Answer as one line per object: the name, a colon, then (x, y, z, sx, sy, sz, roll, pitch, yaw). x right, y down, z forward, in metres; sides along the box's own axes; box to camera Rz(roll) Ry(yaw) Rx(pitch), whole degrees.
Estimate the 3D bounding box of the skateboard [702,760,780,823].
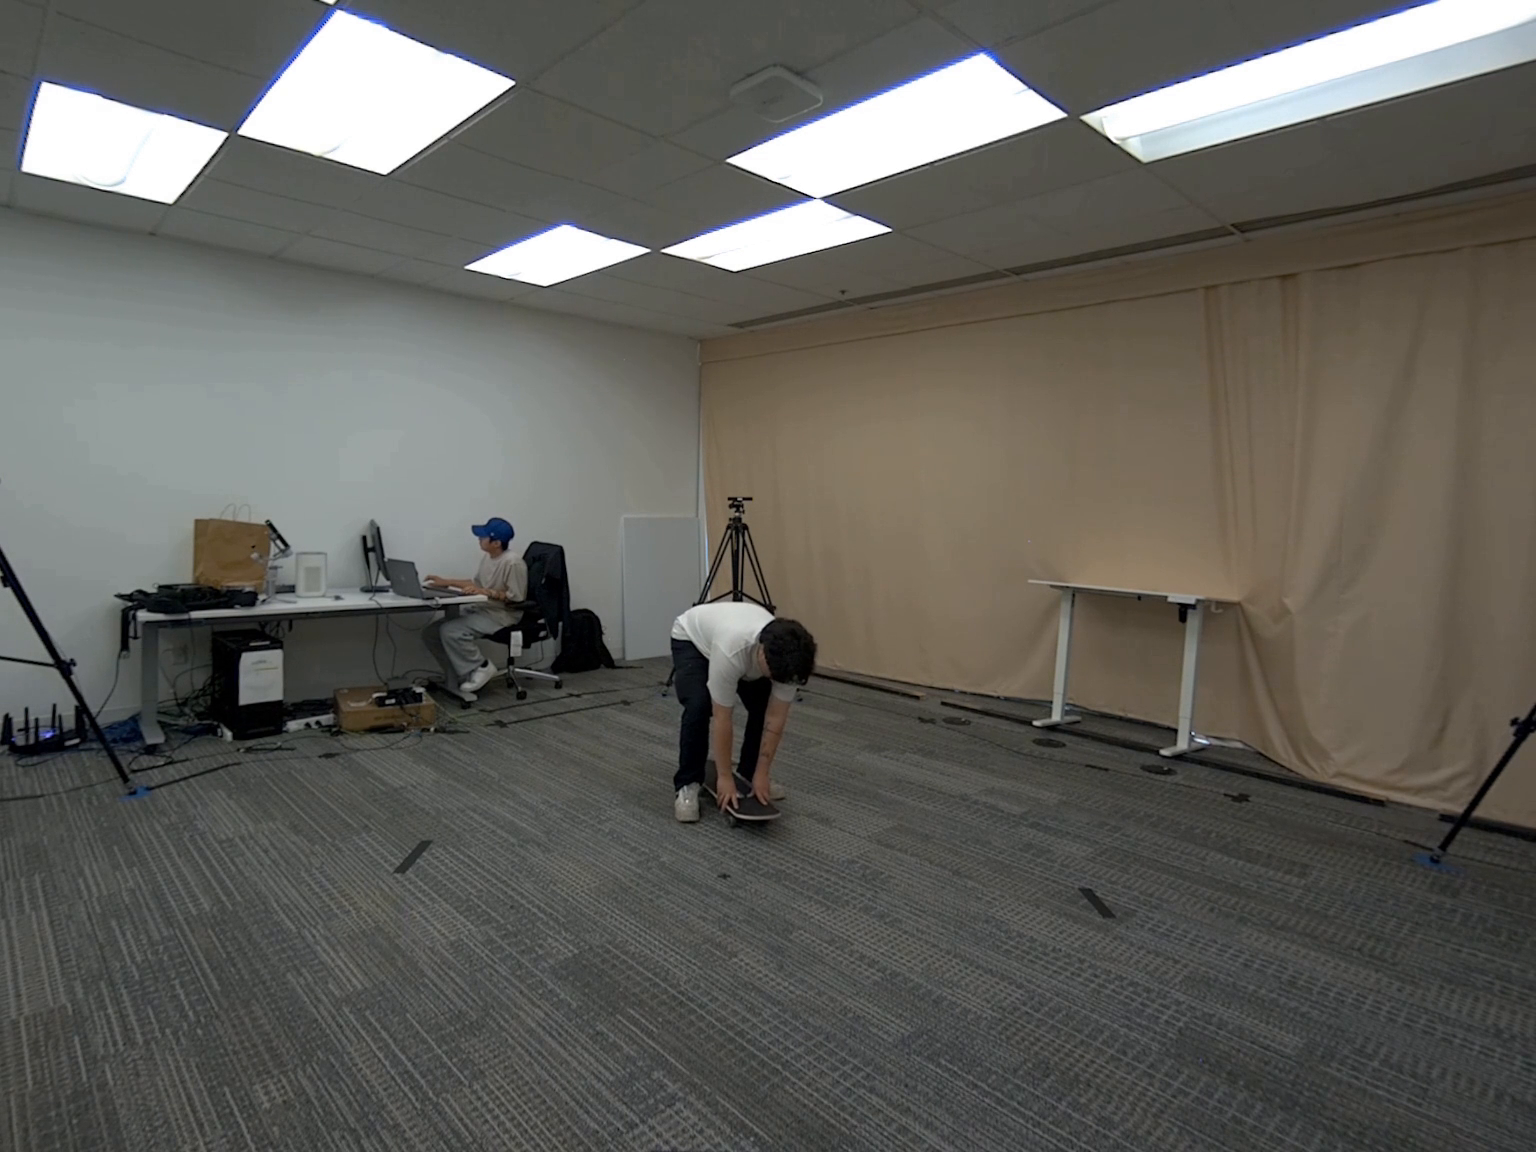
skateboard: (-0.180, 0.998, 3.792, 0.190, 0.110, 0.800, 0, 5, -23)
